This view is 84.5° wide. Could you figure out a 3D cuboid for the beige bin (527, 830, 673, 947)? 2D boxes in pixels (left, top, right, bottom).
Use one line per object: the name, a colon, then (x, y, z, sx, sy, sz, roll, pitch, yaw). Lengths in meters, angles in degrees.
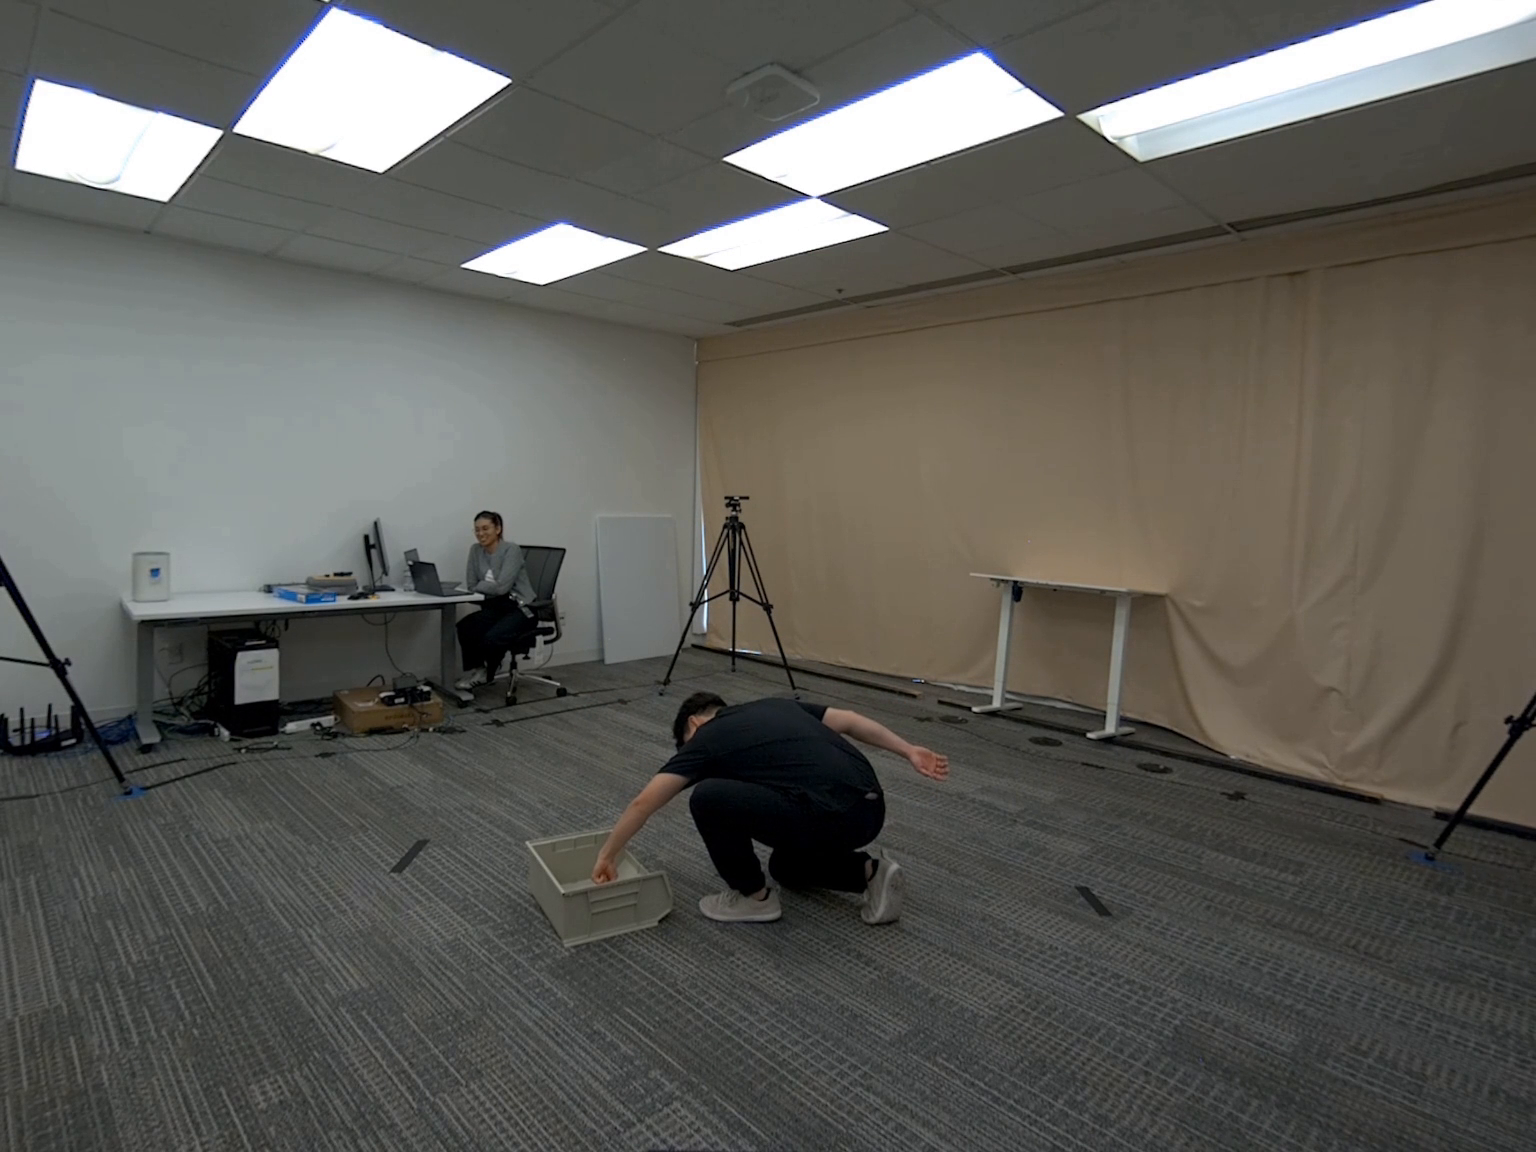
beige bin: (-0.575, 1.024, 2.840, 0.370, 0.188, 0.432, -2, 7, -30)
